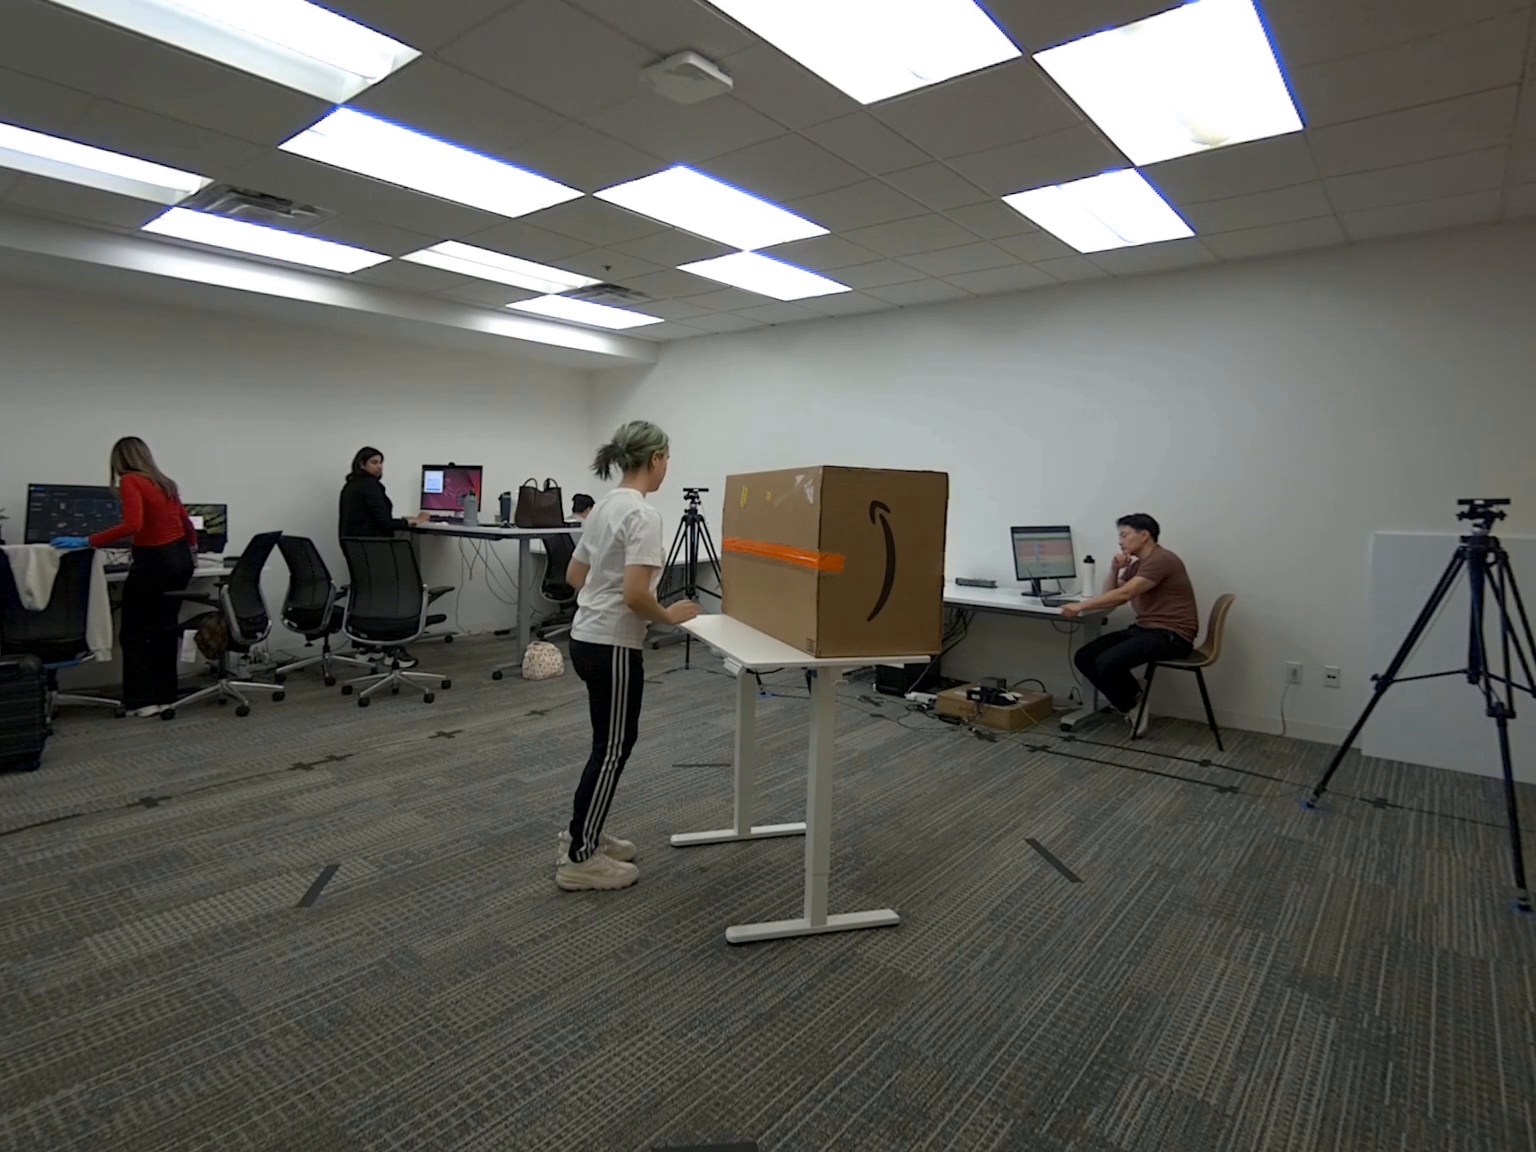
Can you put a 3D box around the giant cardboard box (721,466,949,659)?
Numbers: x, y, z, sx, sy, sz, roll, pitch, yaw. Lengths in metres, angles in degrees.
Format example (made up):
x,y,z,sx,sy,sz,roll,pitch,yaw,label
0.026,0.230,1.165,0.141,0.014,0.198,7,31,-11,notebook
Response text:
x,y,z,sx,sy,sz,roll,pitch,yaw,label
0.175,-0.090,3.080,0.439,0.582,1.049,1,4,-19,giant cardboard box
